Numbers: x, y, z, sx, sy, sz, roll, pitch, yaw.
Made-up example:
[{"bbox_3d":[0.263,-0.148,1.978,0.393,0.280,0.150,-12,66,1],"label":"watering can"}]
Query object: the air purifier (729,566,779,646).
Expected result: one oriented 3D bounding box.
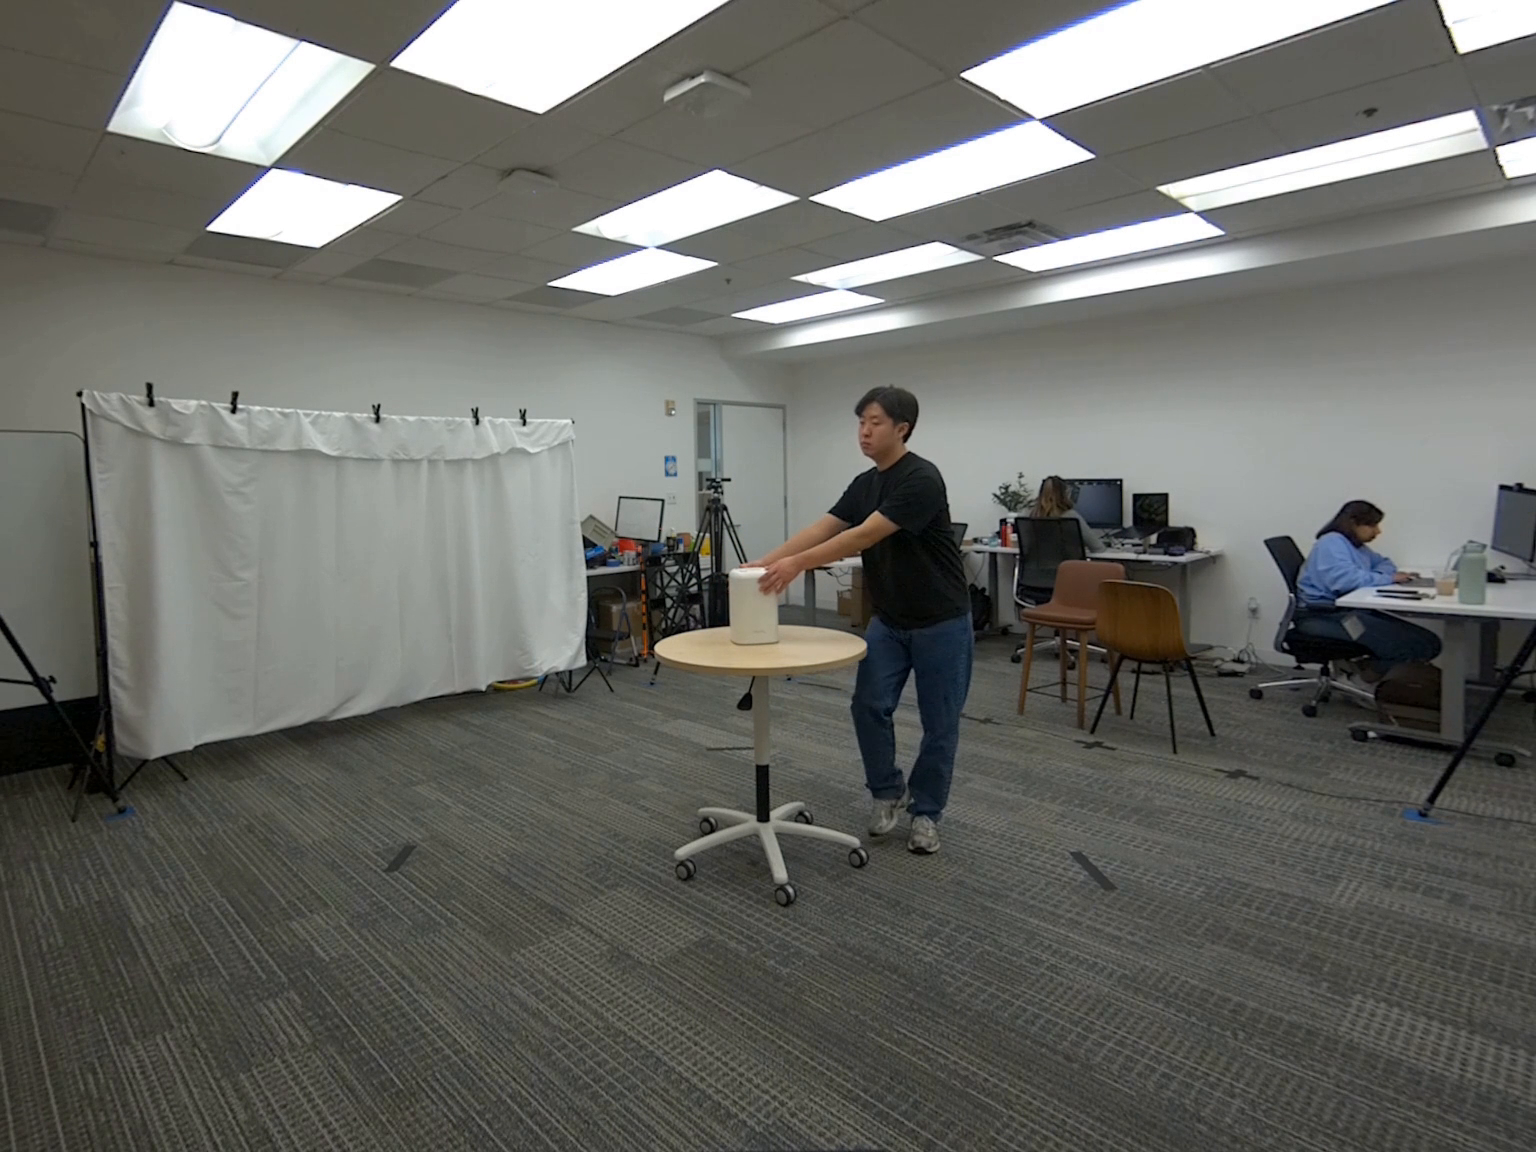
[{"bbox_3d":[-0.058,0.111,3.162,0.171,0.264,0.172,-1,4,-1],"label":"air purifier"}]
